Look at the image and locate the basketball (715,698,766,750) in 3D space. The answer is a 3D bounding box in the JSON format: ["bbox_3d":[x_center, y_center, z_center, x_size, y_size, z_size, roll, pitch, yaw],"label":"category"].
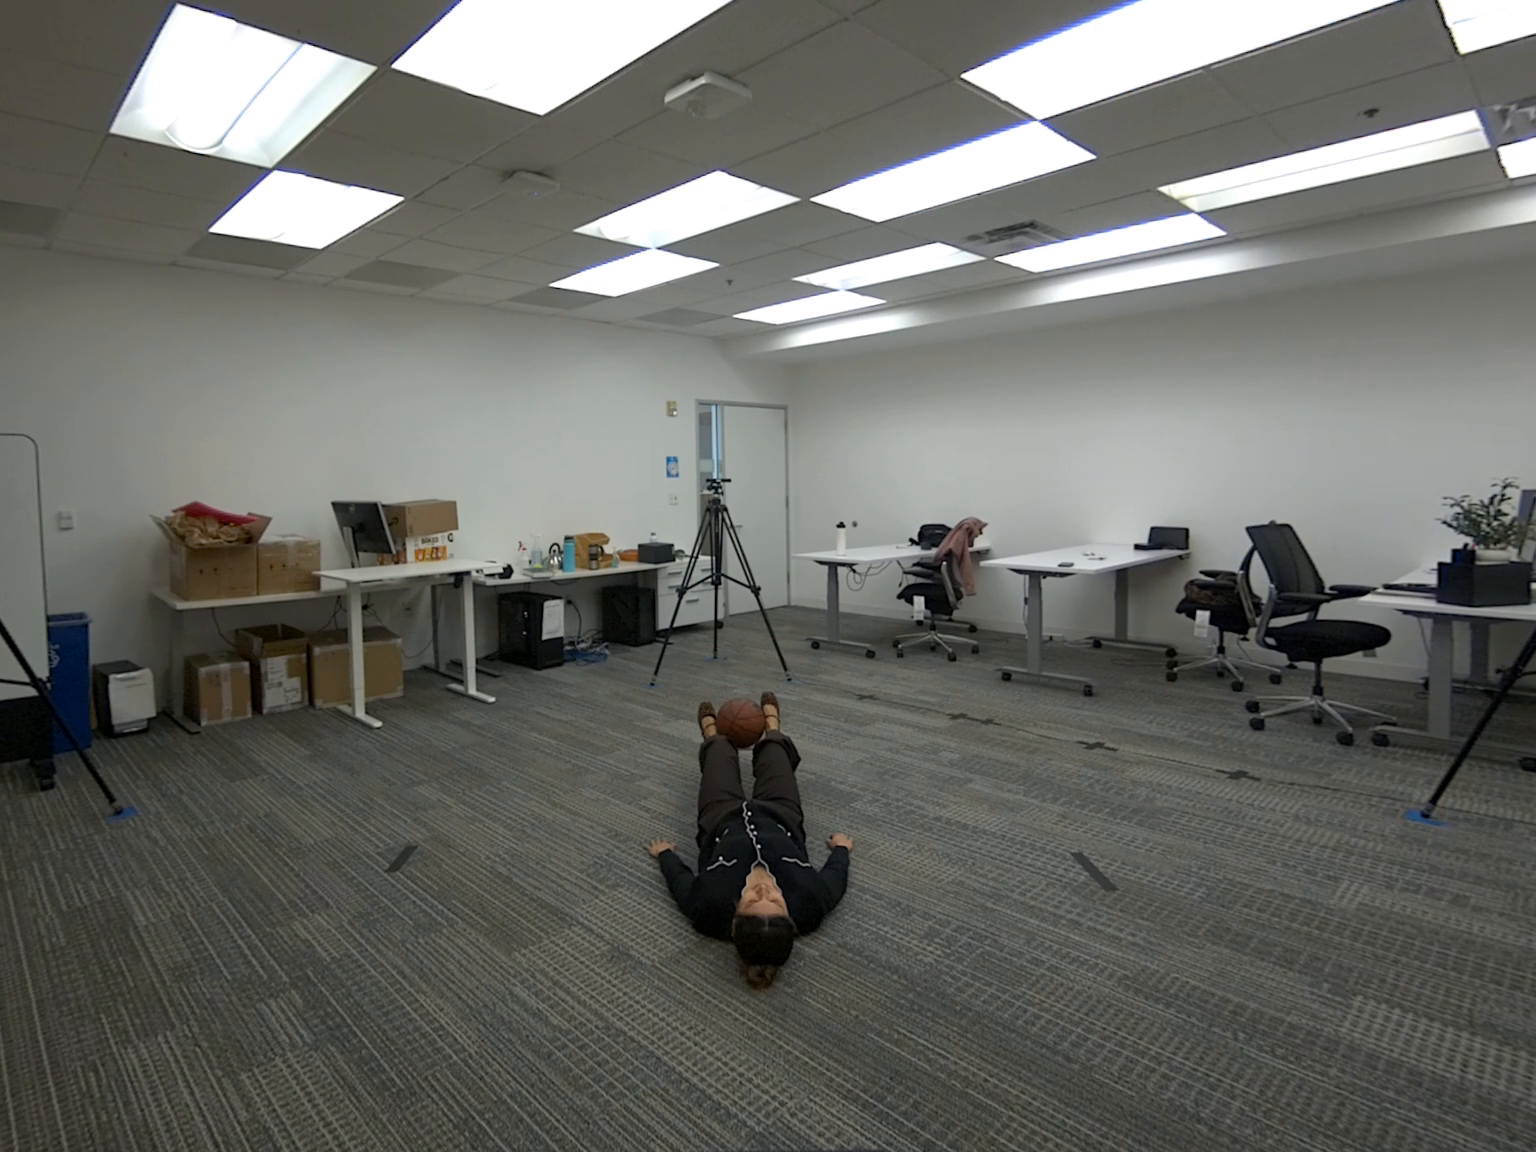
[{"bbox_3d":[-0.130,0.692,4.032,0.236,0.235,0.237,-4,4,-1],"label":"basketball"}]
